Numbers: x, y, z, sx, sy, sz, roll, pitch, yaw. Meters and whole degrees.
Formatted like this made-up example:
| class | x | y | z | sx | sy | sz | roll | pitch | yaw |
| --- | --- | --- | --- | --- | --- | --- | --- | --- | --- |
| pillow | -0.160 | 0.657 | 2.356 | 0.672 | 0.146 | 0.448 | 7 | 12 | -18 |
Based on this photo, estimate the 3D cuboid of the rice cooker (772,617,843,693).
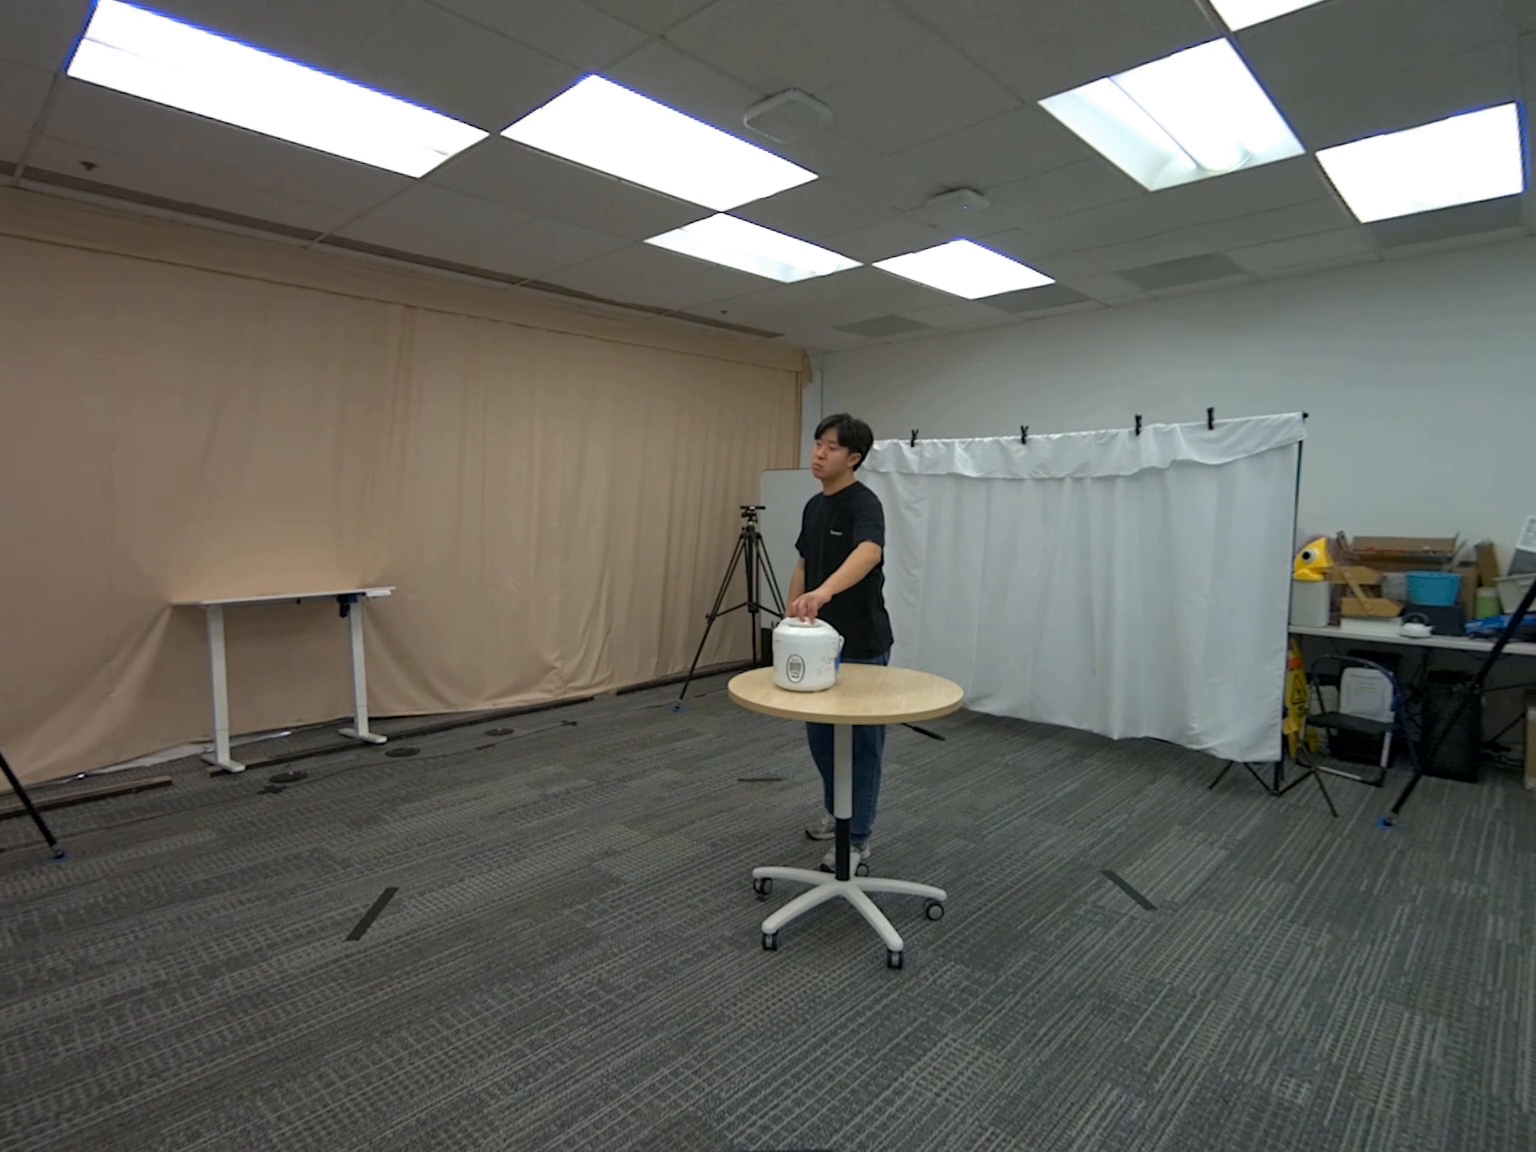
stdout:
| class | x | y | z | sx | sy | sz | roll | pitch | yaw |
| --- | --- | --- | --- | --- | --- | --- | --- | --- | --- |
| rice cooker | 0.125 | 0.252 | 2.765 | 0.225 | 0.232 | 0.213 | 1 | 3 | 21 |
